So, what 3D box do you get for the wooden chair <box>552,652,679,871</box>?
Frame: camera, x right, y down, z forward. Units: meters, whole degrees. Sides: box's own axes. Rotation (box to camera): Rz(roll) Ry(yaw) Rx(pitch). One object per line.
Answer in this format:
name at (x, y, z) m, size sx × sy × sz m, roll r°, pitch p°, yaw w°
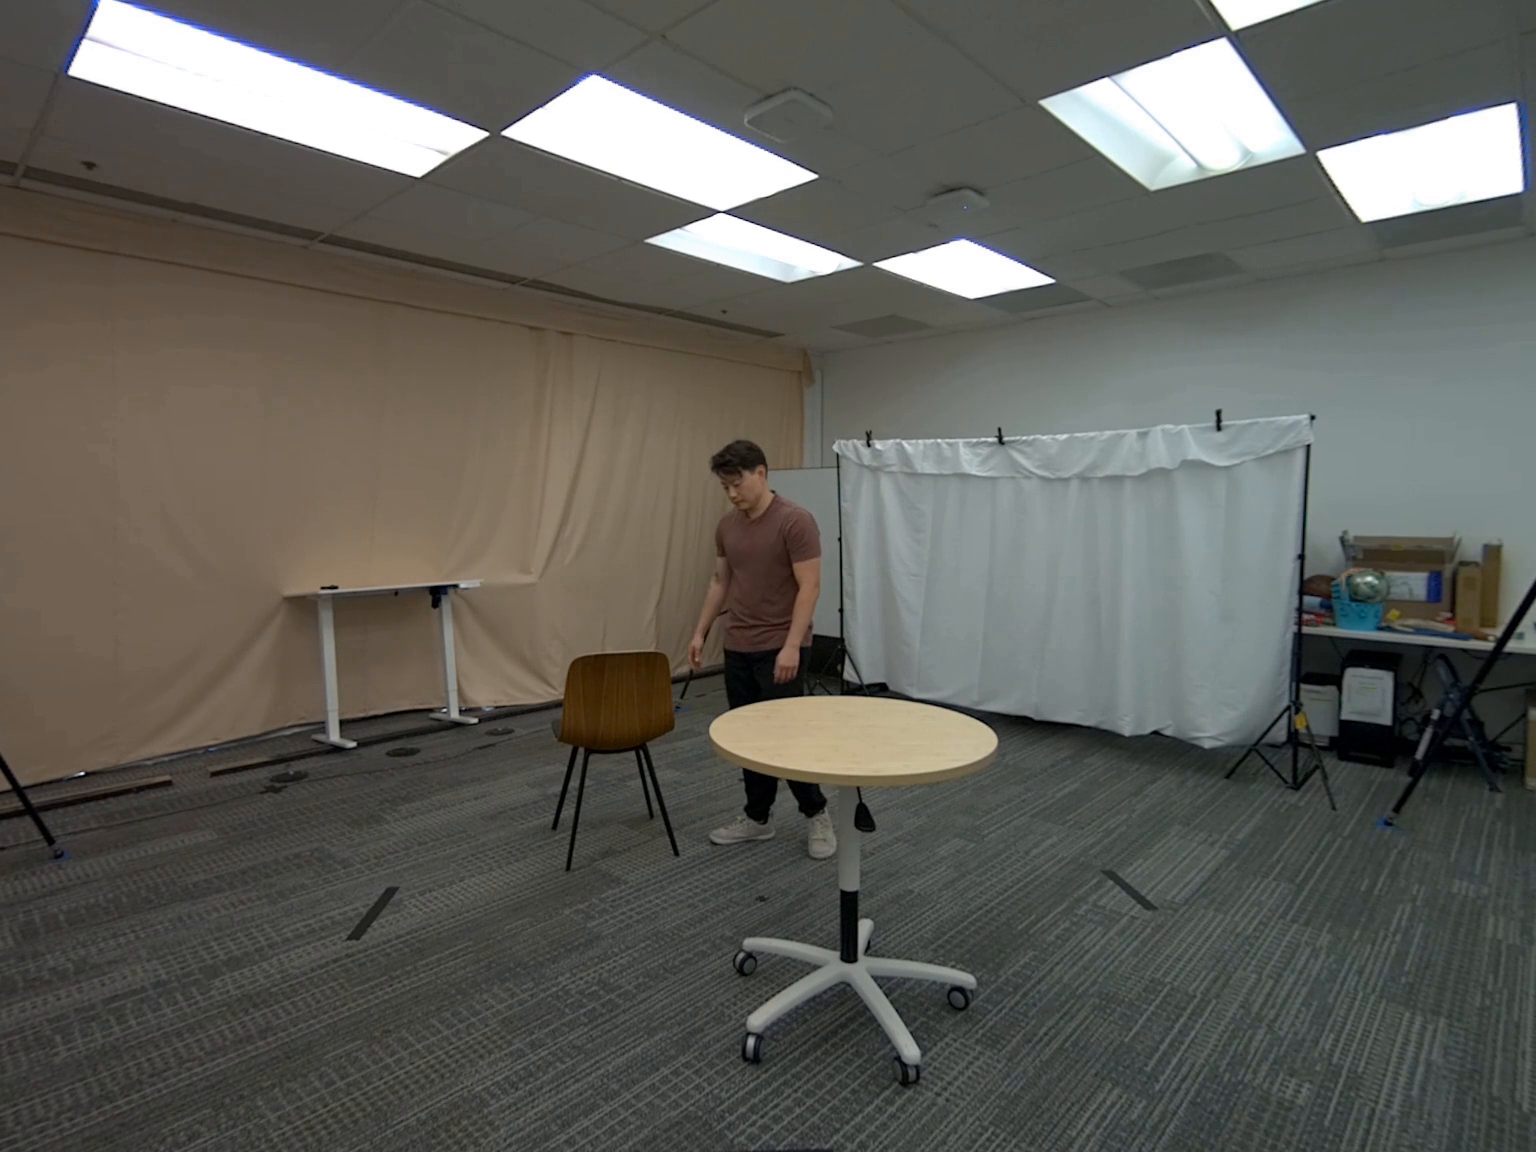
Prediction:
wooden chair at (-0.649, 0.683, 3.481) m, size 0.469 × 0.874 × 0.536 m, roll -1°, pitch 7°, yaw -20°
